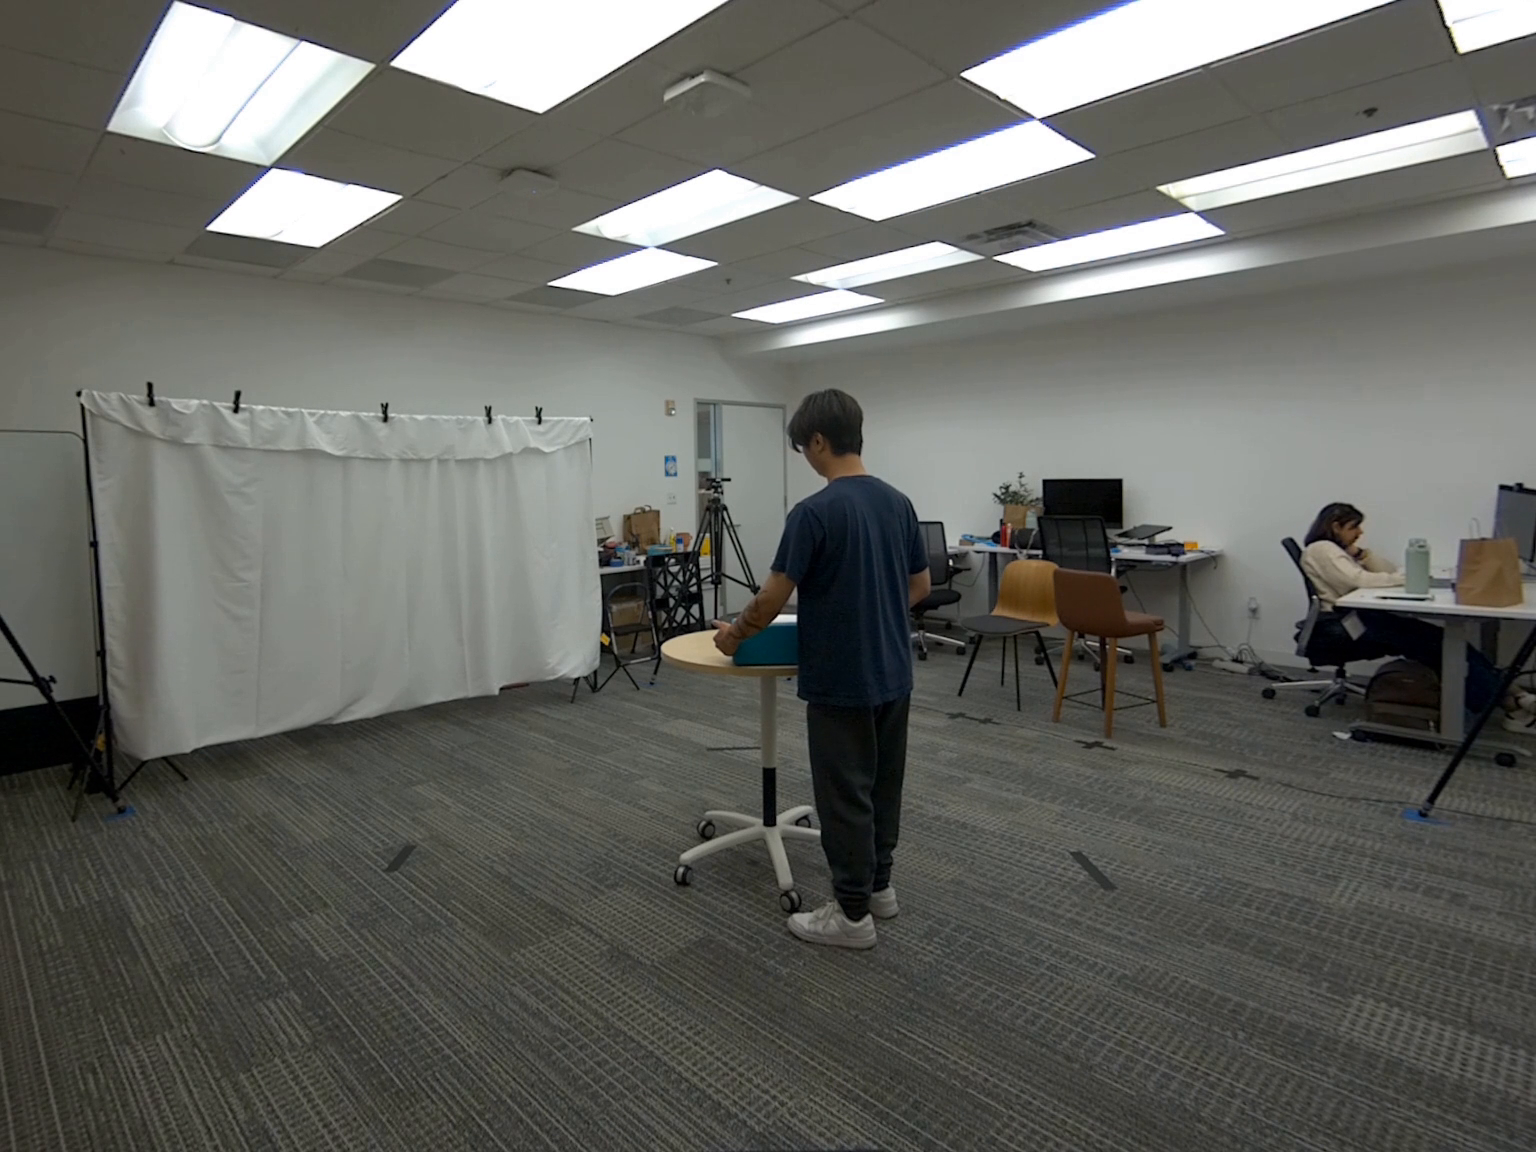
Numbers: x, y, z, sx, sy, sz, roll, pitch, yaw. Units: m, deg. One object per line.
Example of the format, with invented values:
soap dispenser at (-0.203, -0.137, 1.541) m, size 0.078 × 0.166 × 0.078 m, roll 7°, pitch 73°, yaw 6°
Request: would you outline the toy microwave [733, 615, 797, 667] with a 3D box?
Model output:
toy microwave at (0.033, 0.203, 2.793) m, size 0.287 × 0.152 × 0.183 m, roll 0°, pitch 2°, yaw 4°
